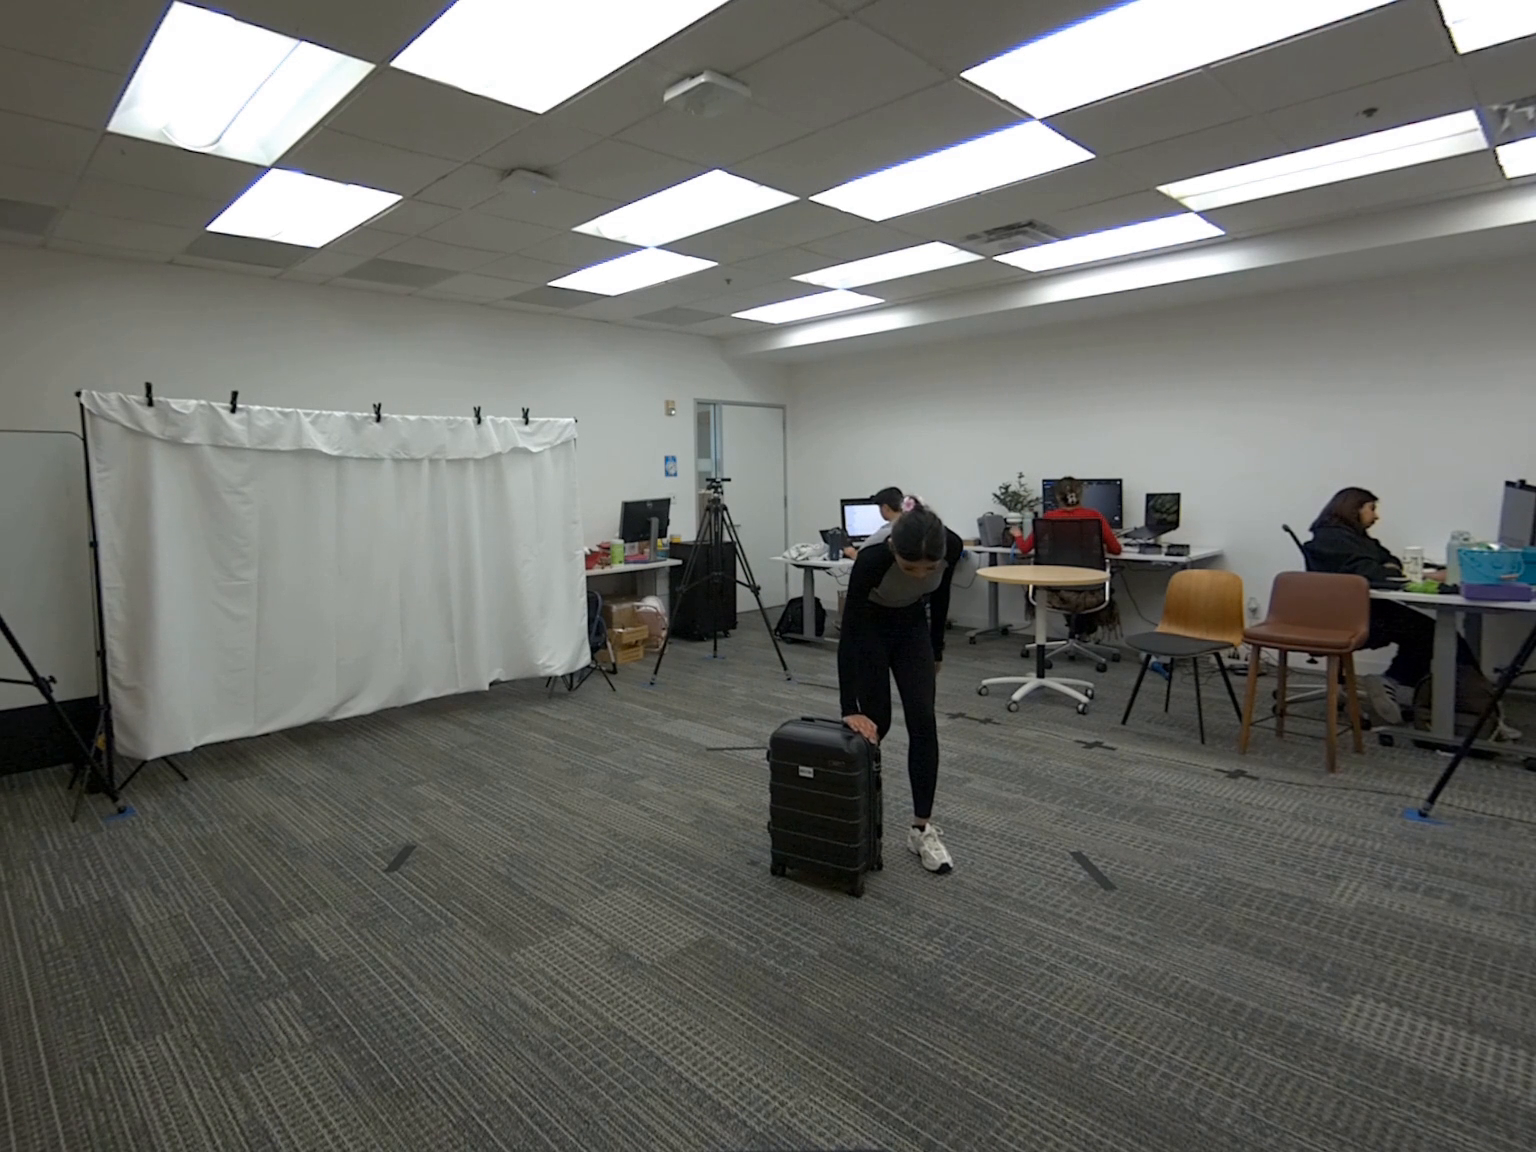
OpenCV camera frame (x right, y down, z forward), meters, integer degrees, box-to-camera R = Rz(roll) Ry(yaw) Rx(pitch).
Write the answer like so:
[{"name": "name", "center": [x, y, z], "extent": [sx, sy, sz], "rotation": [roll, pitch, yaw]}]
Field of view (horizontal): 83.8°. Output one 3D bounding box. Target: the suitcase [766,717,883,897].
[{"name": "suitcase", "center": [0.202, 0.776, 2.971], "extent": [0.386, 0.546, 0.243], "rotation": [3, 8, 32]}]
